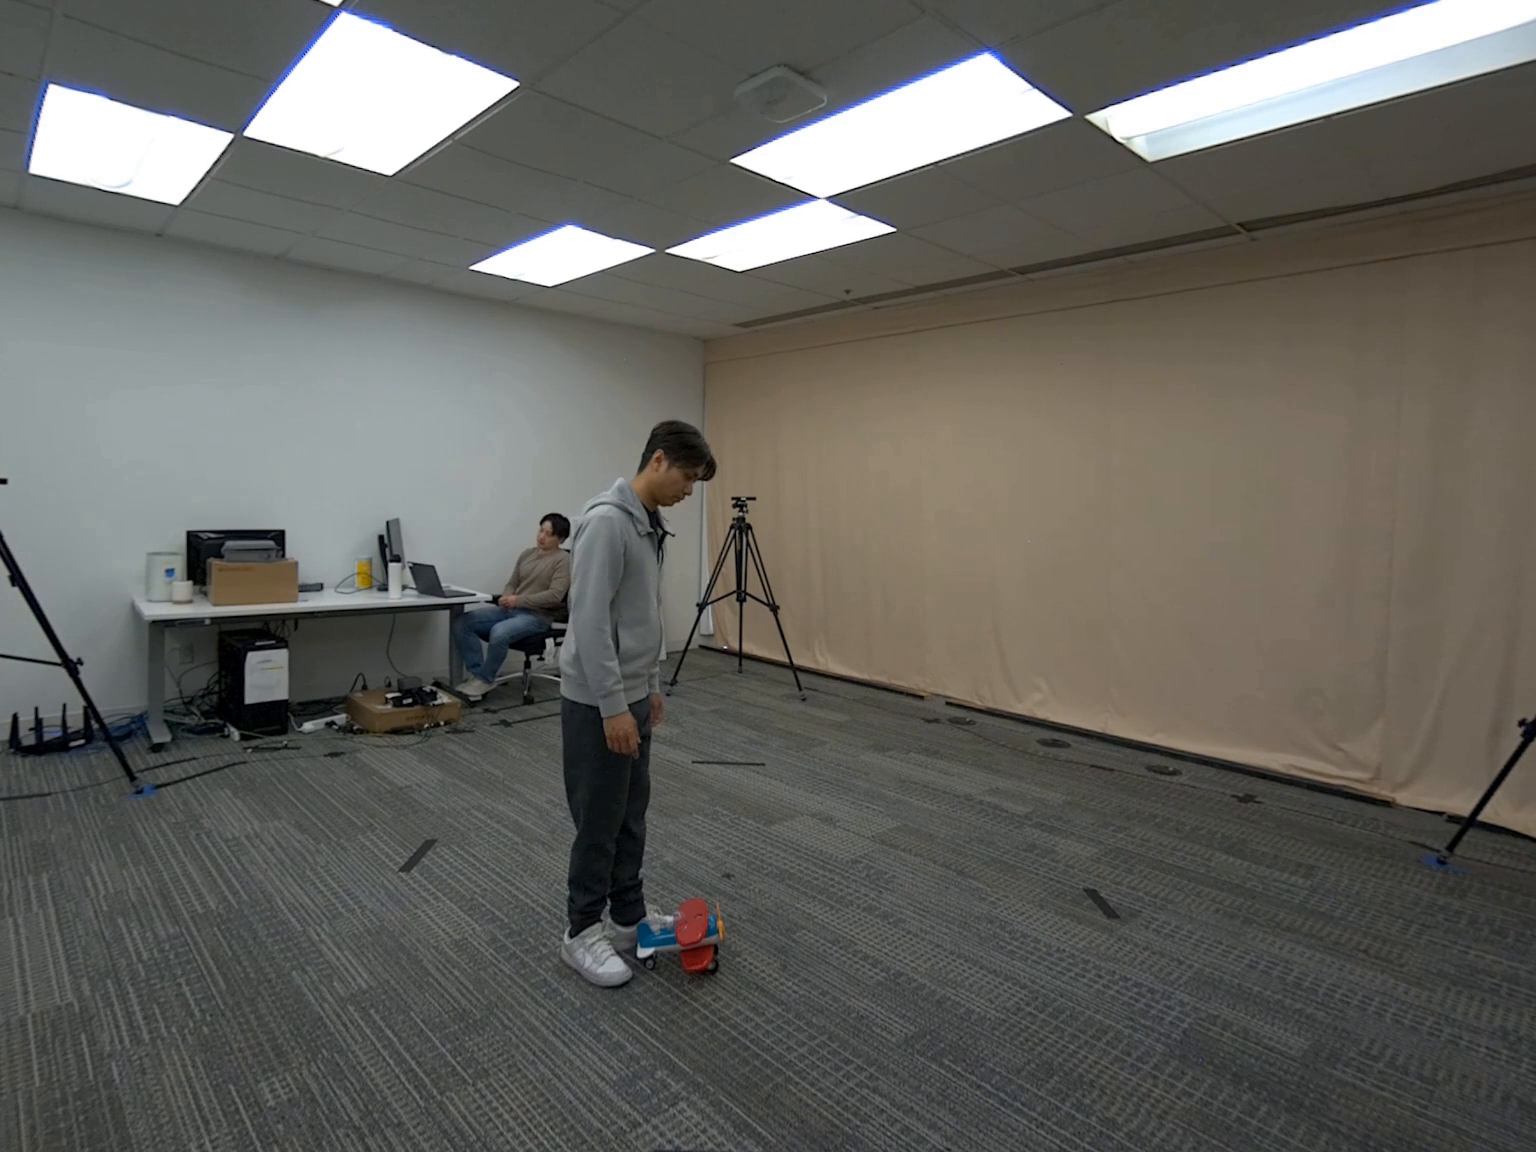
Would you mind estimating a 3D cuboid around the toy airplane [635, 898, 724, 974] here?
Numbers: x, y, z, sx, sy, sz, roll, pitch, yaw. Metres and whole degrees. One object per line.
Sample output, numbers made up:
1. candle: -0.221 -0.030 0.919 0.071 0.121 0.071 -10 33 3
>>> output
1. toy airplane: -0.265 1.086 2.488 0.254 0.156 0.257 -1 7 -28
